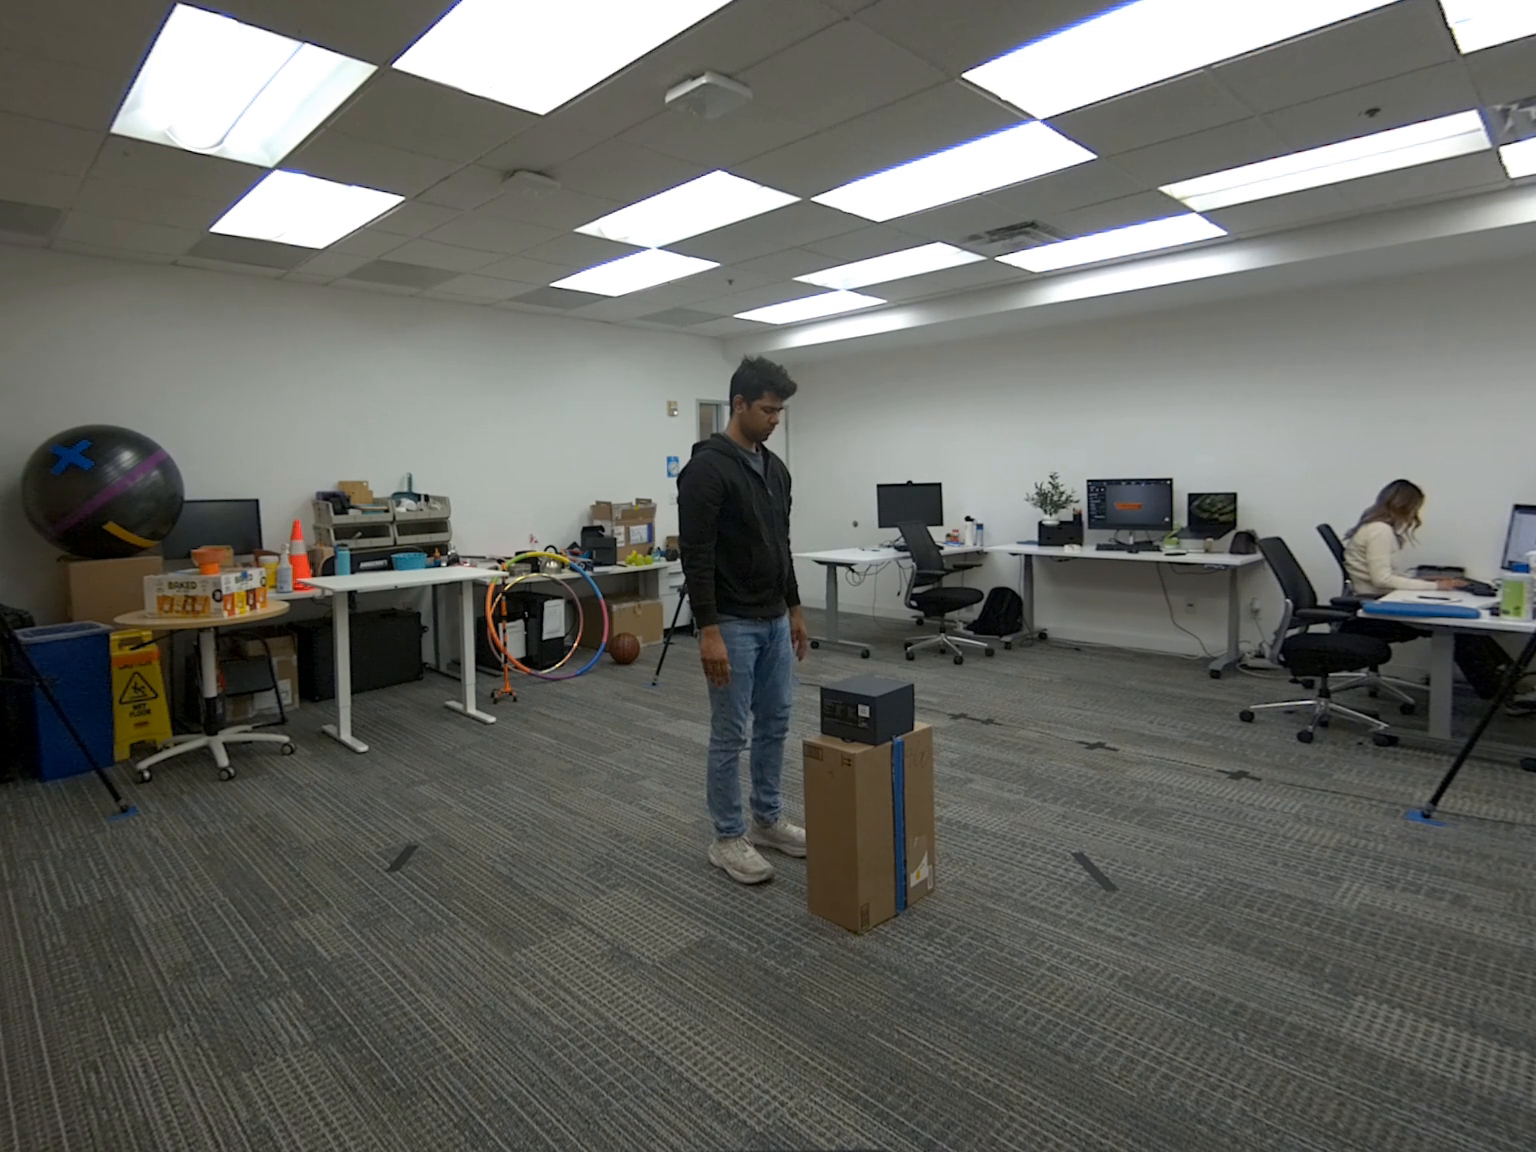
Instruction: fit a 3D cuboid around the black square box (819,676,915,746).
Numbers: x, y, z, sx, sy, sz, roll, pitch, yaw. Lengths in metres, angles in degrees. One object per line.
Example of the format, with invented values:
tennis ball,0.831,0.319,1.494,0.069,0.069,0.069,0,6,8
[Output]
black square box,0.332,0.430,2.777,0.223,0.155,0.222,3,6,42
